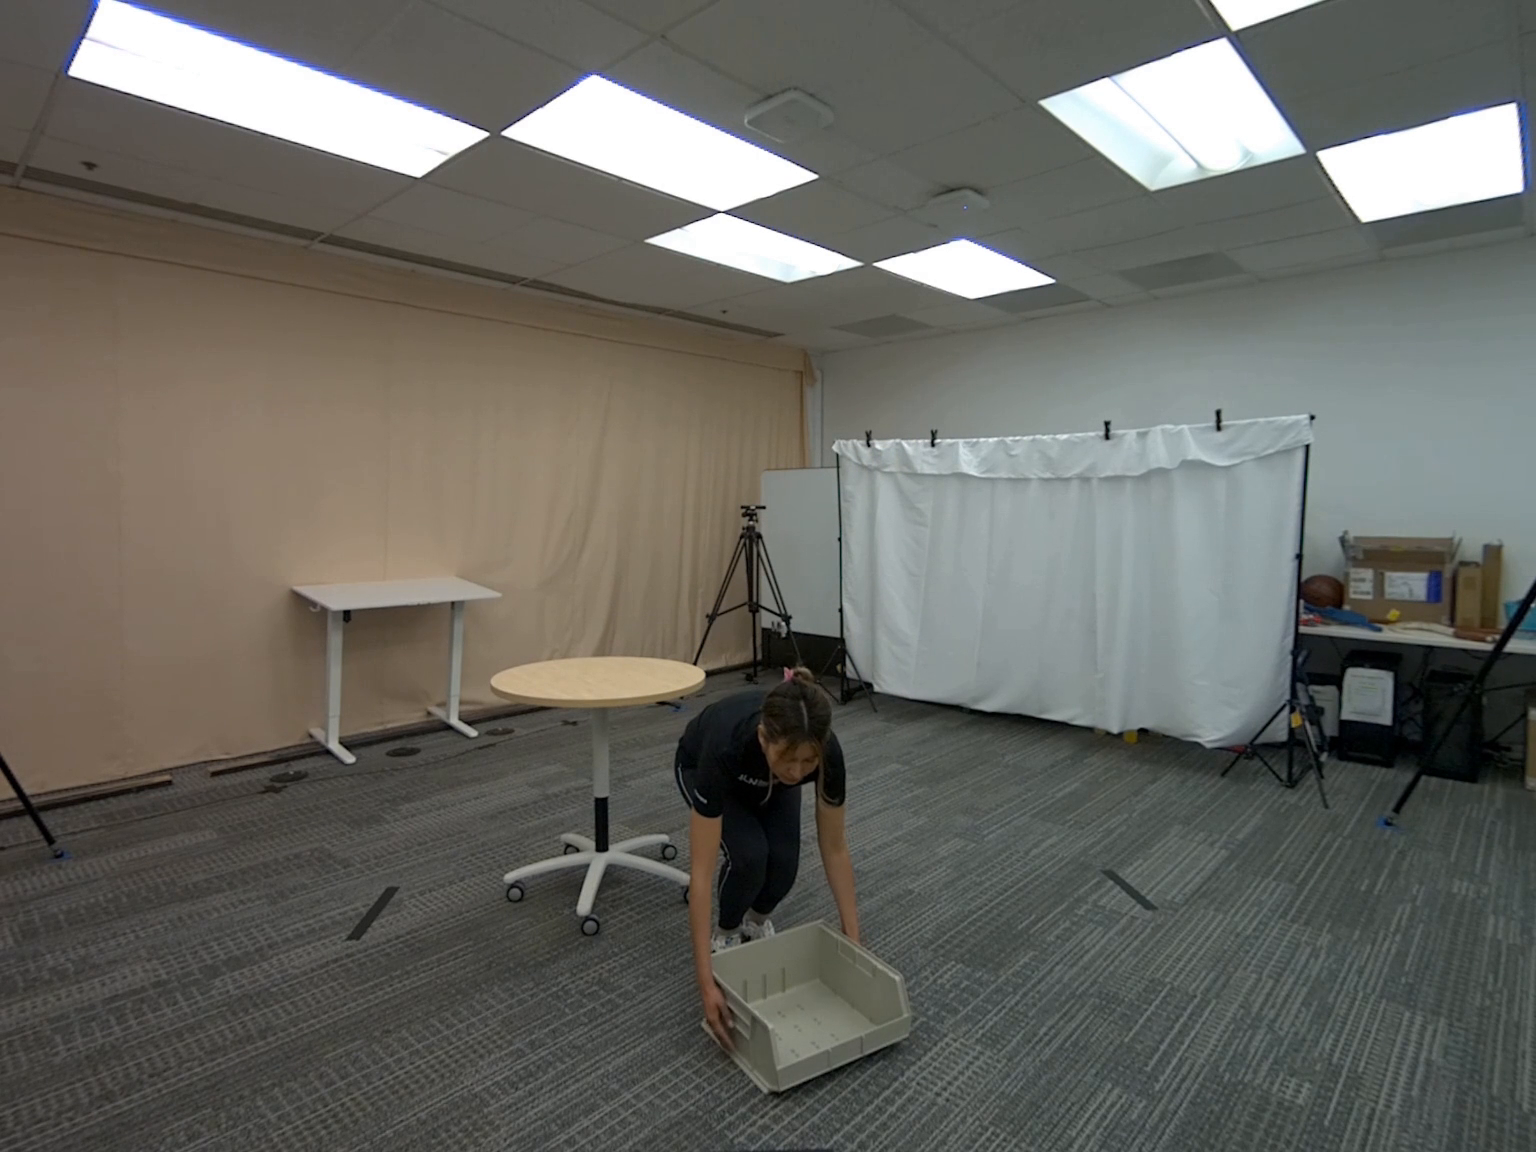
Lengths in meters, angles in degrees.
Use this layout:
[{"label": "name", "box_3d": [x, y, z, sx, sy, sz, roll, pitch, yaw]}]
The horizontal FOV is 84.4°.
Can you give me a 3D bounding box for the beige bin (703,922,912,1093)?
[{"label": "beige bin", "box_3d": [0.095, 1.120, 2.202, 0.410, 0.188, 0.389, -3, 4, -33]}]
